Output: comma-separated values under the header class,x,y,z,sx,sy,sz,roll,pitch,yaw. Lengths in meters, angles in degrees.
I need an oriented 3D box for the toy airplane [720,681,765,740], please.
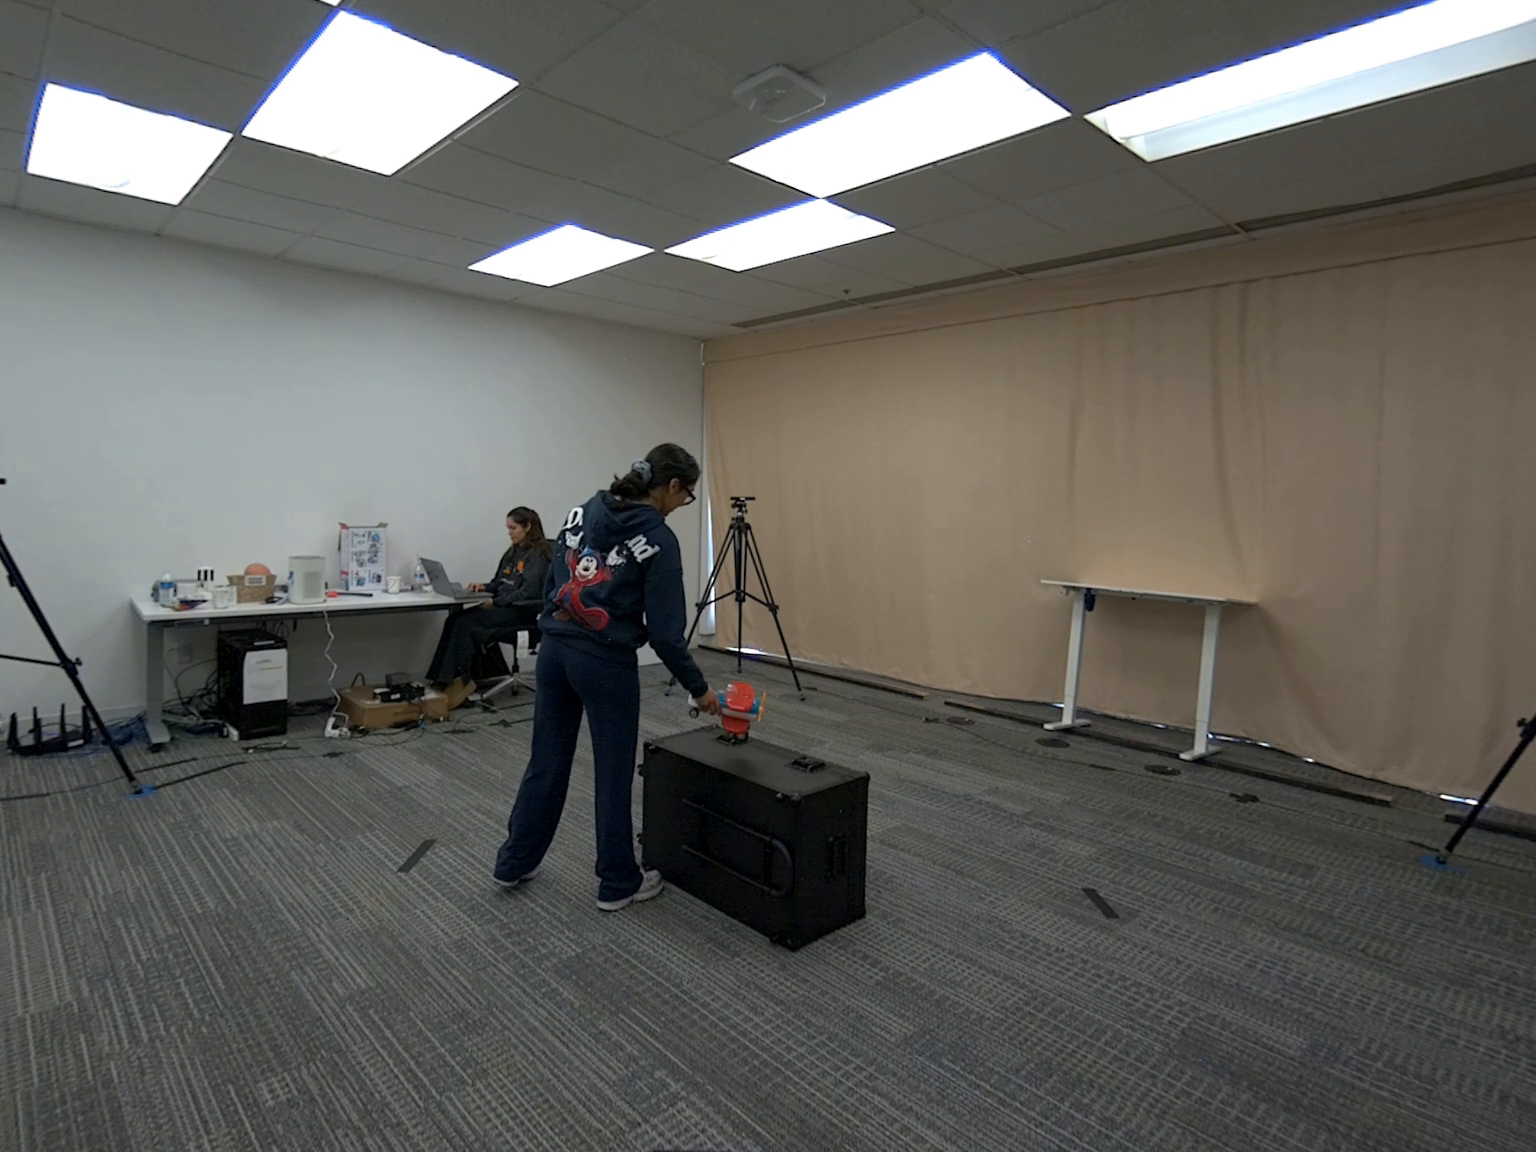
class,x,y,z,sx,sy,sz,roll,pitch,yaw
toy airplane,-0.151,0.458,2.916,0.252,0.156,0.259,19,11,-33
